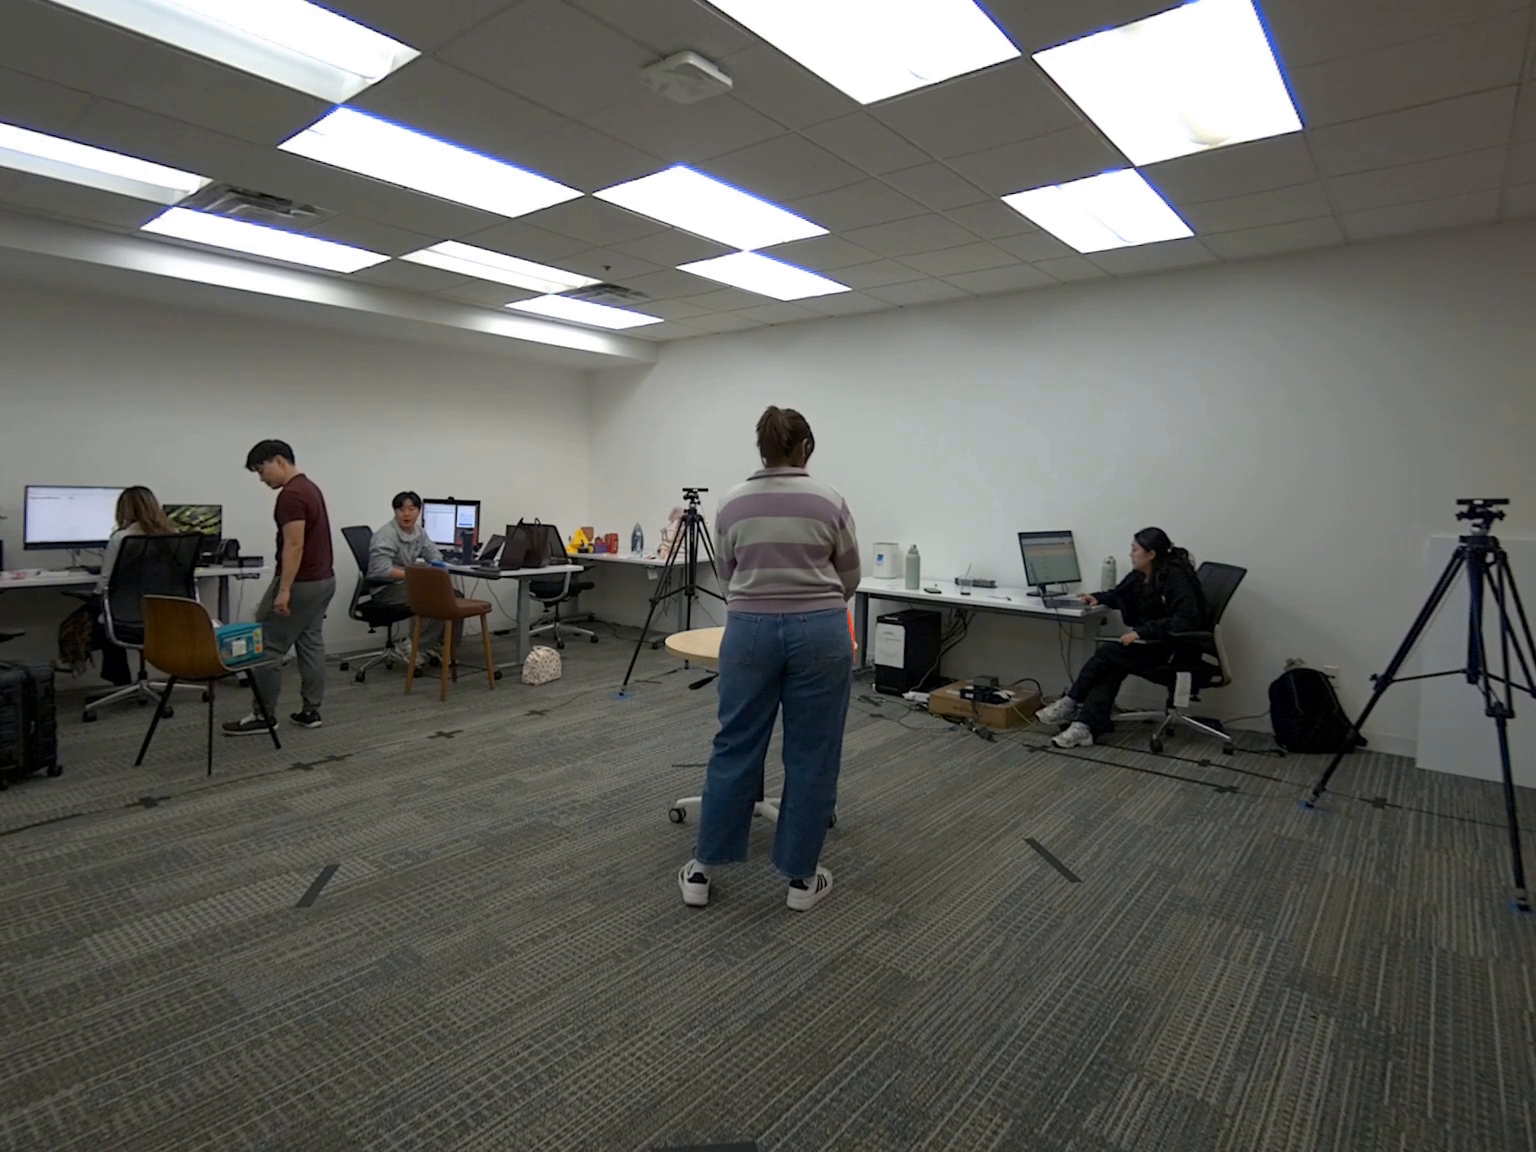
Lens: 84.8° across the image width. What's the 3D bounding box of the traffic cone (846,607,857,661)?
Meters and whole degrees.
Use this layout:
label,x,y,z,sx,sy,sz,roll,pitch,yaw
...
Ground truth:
label,x,y,z,sx,sy,sz,roll,pitch,yaw
traffic cone,0.116,0.236,3.231,0.388,0.197,0.209,-9,34,12
